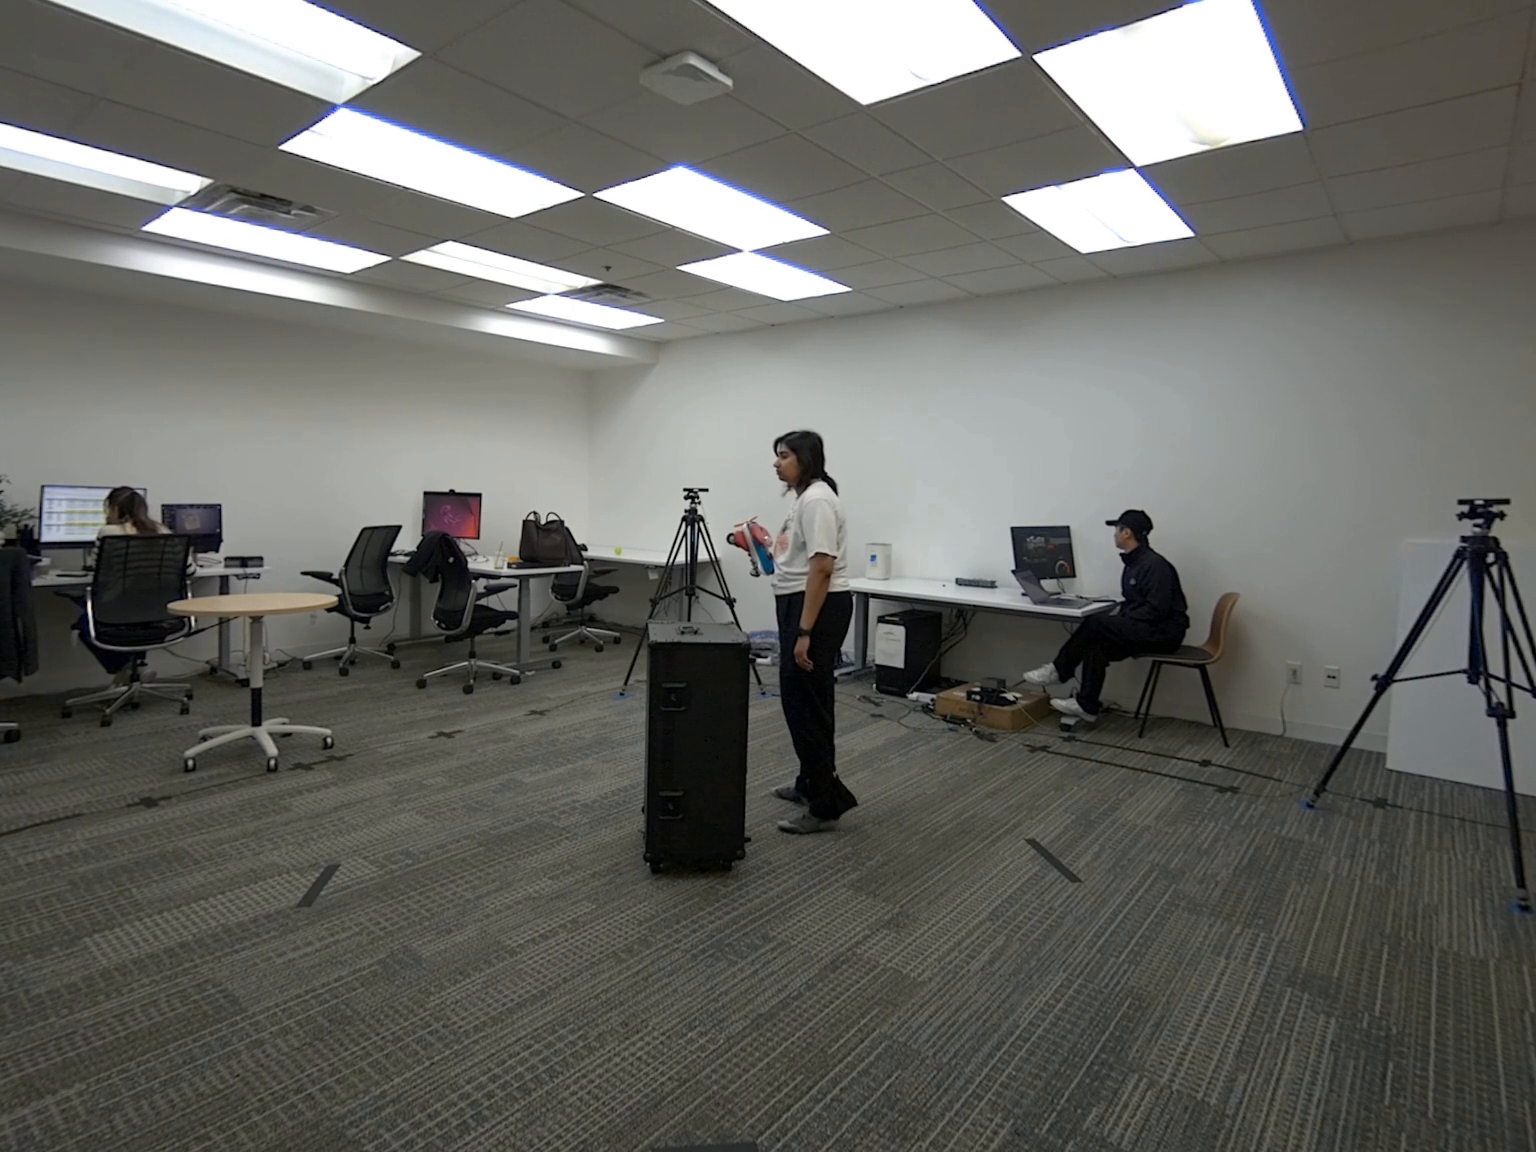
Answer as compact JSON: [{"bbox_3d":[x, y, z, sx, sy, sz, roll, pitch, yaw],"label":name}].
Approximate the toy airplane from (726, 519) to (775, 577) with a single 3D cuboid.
[{"bbox_3d":[-0.065,-0.134,3.807,0.157,0.254,0.255,-36,15,10],"label":"toy airplane"}]
